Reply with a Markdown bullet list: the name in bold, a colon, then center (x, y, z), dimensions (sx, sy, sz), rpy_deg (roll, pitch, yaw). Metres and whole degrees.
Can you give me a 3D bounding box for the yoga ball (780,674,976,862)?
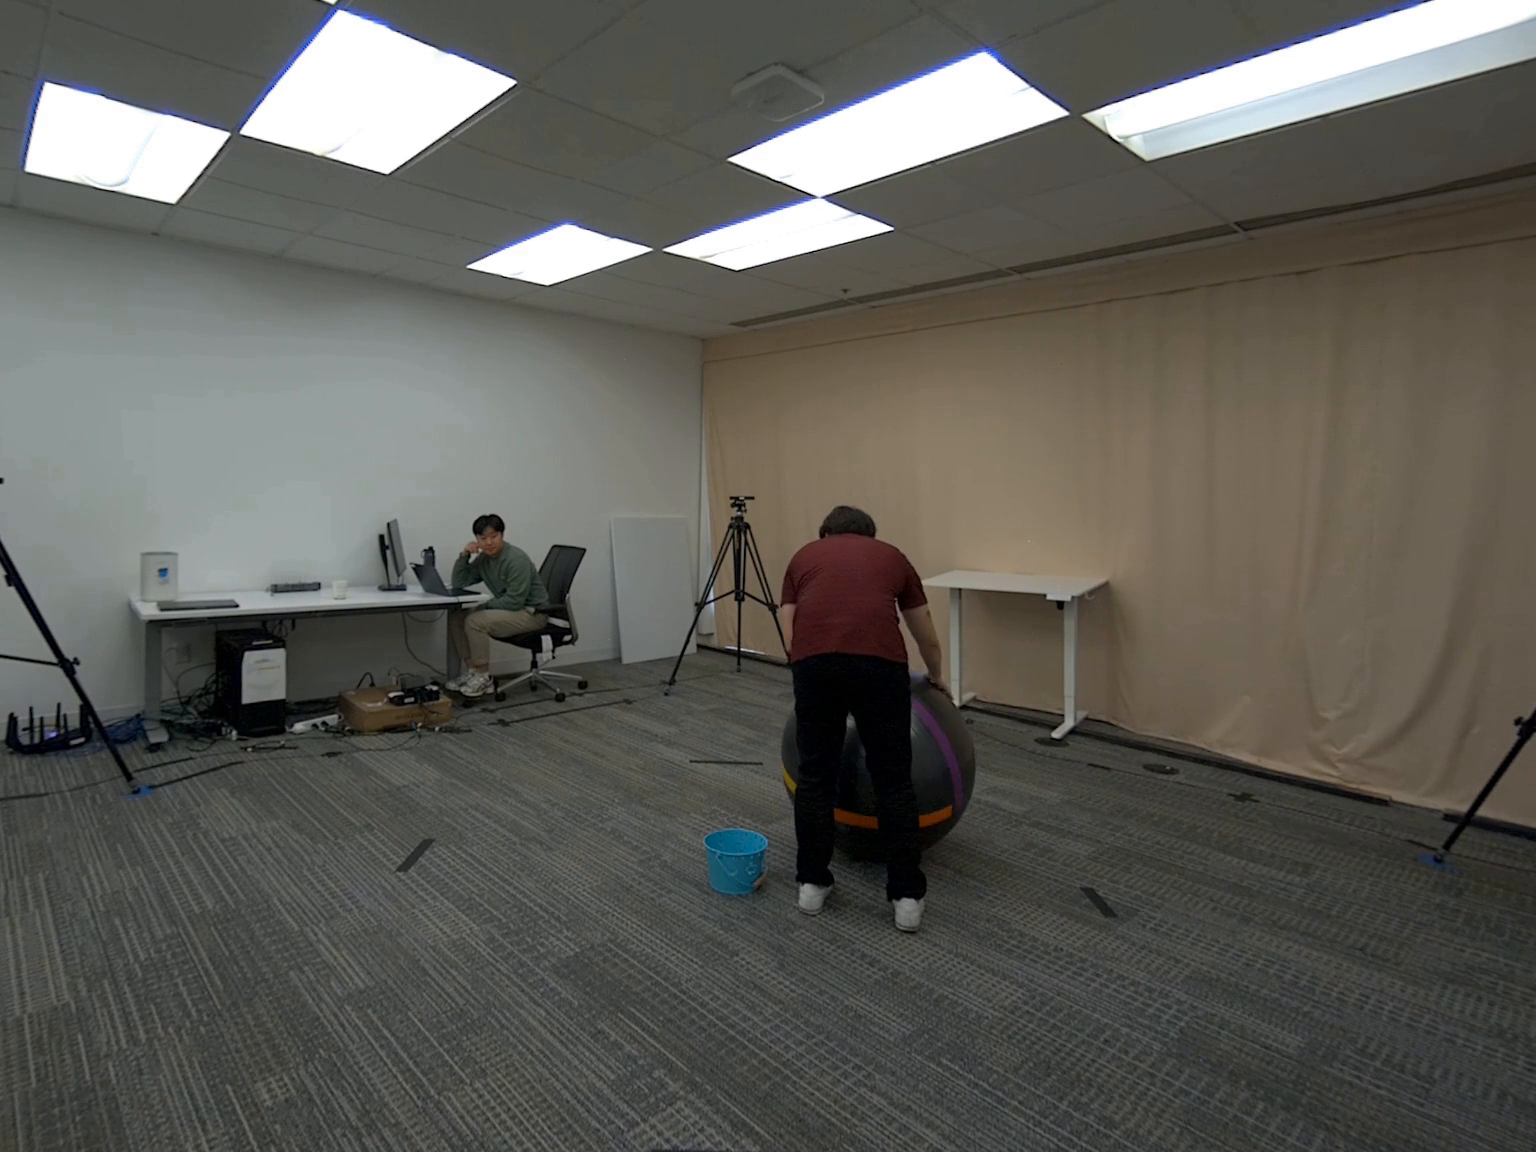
- **yoga ball**: center (0.431, 0.730, 3.346), dimensions (0.757, 0.756, 0.761), rpy_deg (1, 4, -1)
